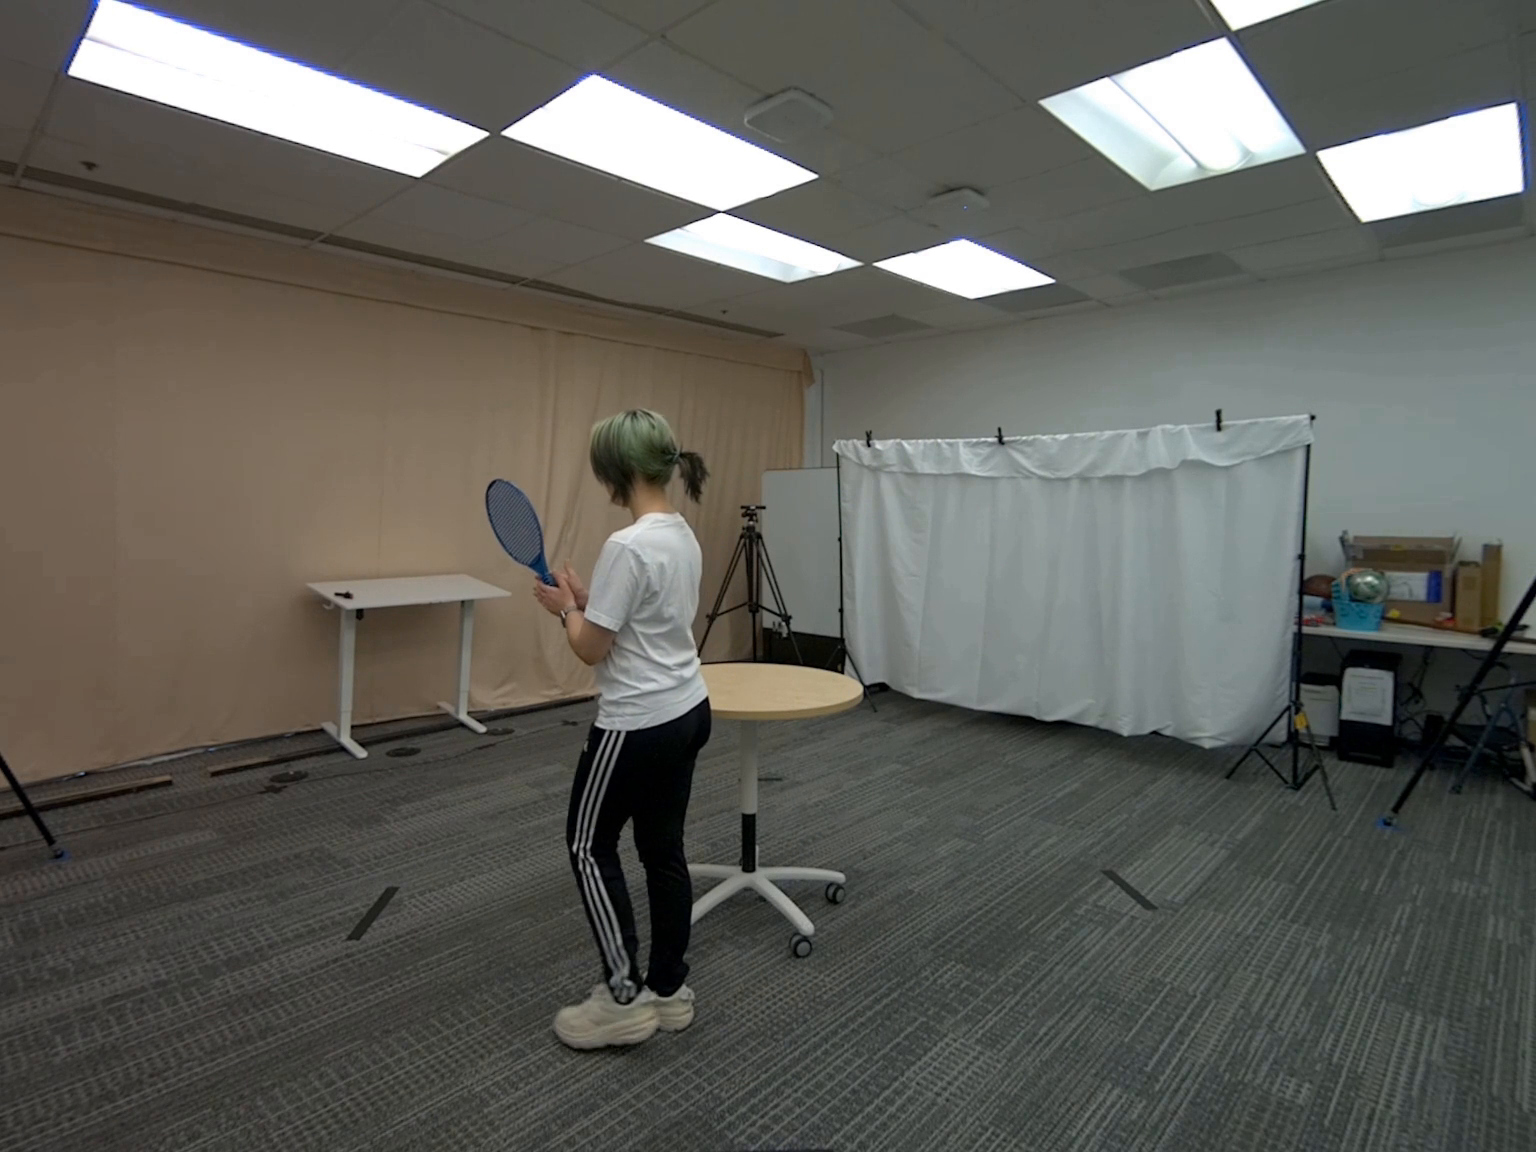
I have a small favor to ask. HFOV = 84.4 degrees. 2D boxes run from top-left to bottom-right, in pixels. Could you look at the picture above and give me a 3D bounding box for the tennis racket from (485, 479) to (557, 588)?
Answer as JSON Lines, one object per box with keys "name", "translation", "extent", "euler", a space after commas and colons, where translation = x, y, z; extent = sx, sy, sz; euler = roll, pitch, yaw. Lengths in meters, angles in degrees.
{"name": "tennis racket", "translation": [-0.665, -0.091, 2.359], "extent": [0.031, 0.440, 0.215], "euler": [-24, -20, -48]}
